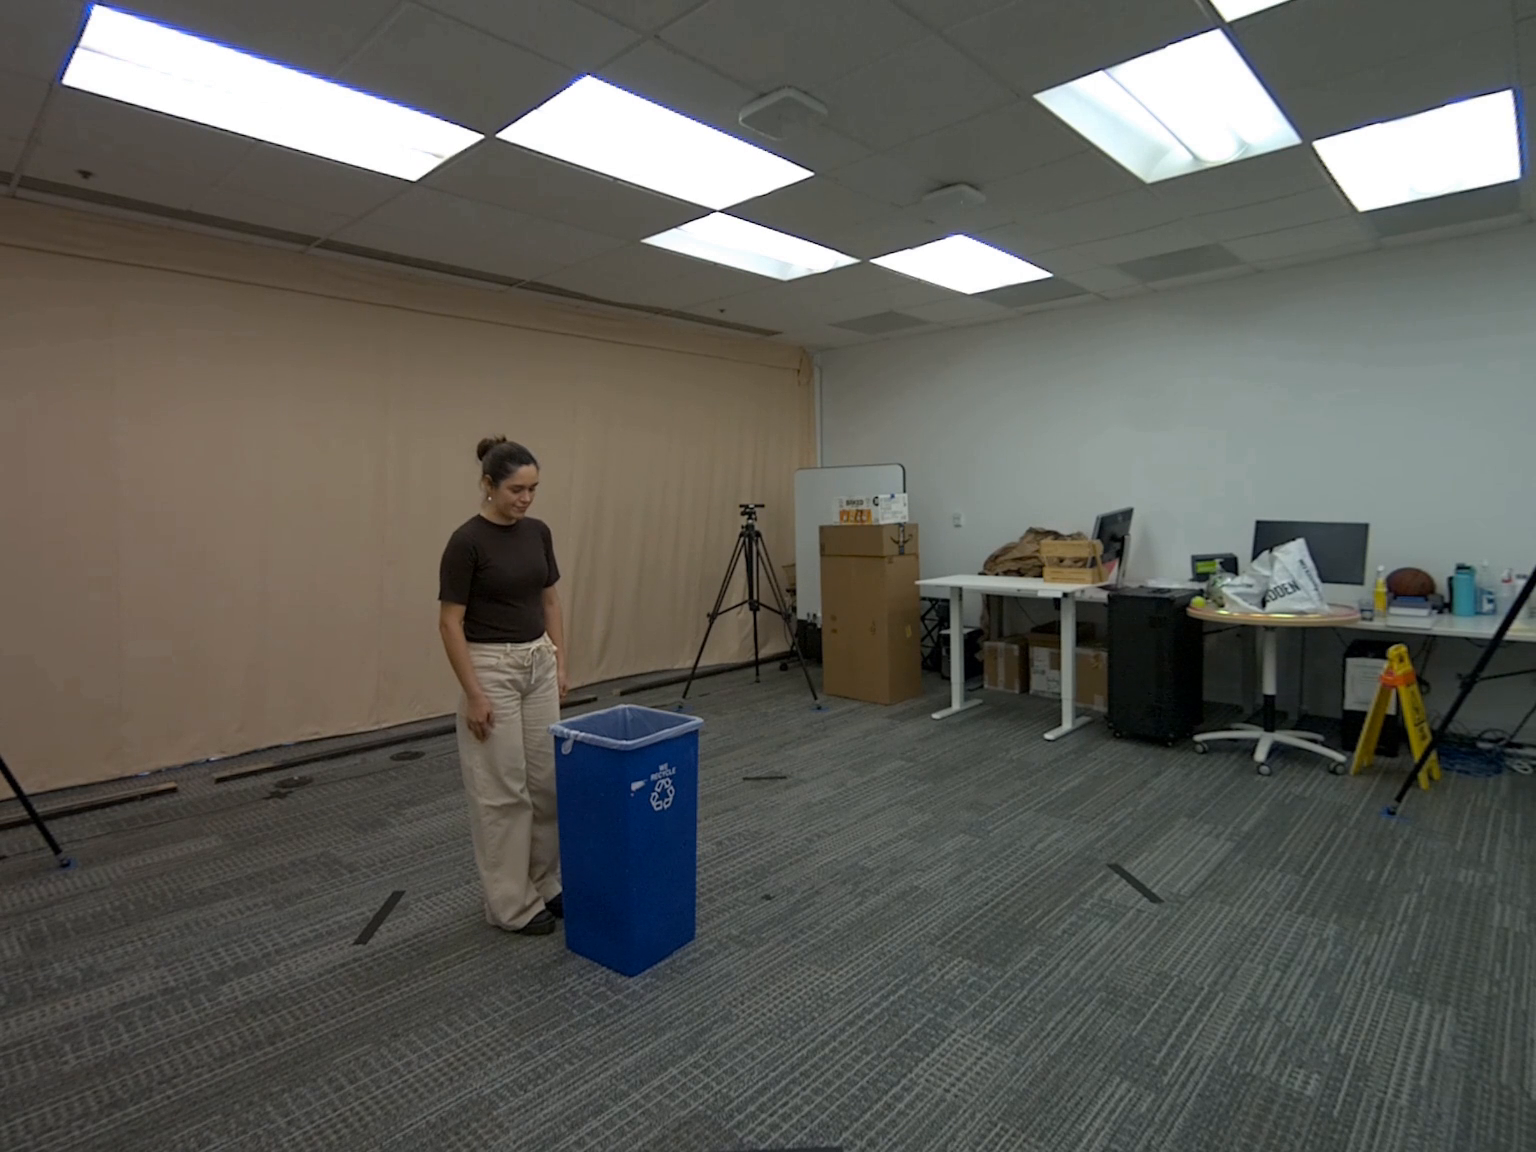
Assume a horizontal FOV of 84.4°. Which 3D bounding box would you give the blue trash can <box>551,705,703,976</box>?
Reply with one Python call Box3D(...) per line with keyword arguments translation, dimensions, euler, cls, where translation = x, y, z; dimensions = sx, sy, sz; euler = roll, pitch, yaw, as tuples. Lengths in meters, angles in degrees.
Box3D(translation=(-0.440, 0.816, 2.679), dimensions=(0.390, 0.712, 0.363), euler=(2, 4, 37), cls="blue trash can")
